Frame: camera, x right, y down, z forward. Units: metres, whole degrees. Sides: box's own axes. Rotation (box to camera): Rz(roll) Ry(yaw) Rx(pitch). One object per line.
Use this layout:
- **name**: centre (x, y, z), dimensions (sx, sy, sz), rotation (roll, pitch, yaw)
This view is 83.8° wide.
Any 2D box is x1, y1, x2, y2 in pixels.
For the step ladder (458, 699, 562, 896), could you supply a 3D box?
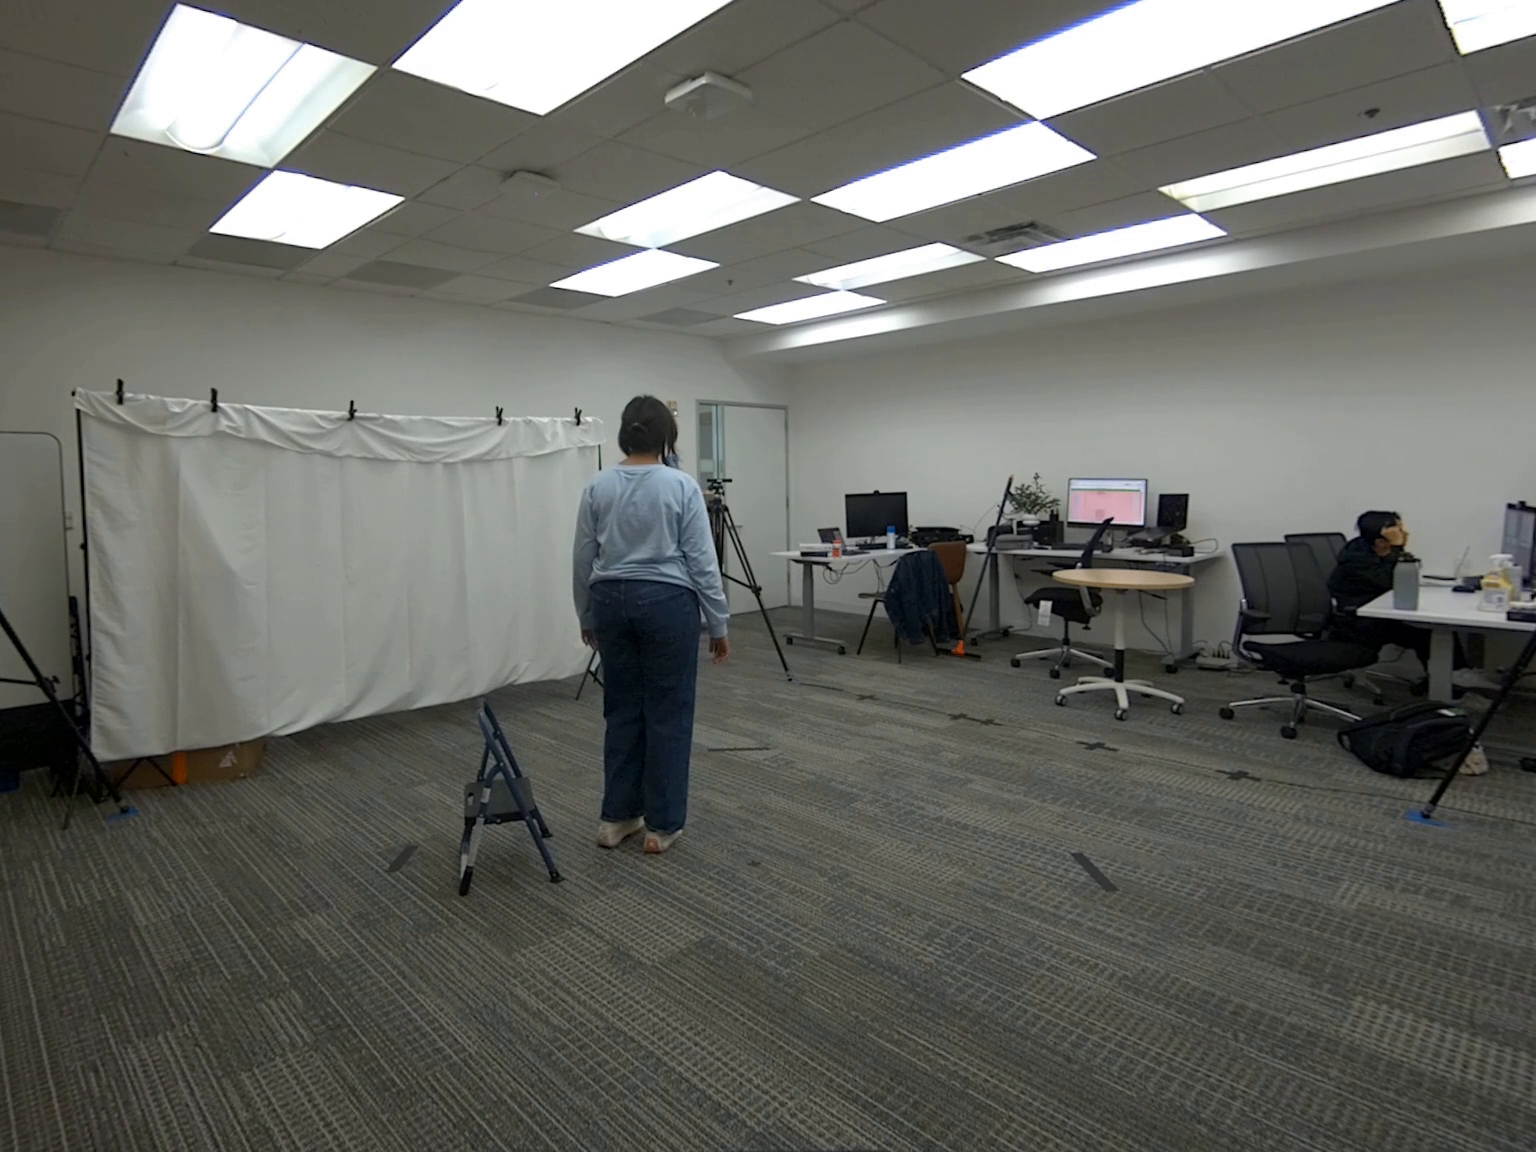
- **step ladder**: centre (-0.959, 0.762, 3.128), dimensions (0.344, 0.604, 0.439), rotation (-3, 5, -19)
